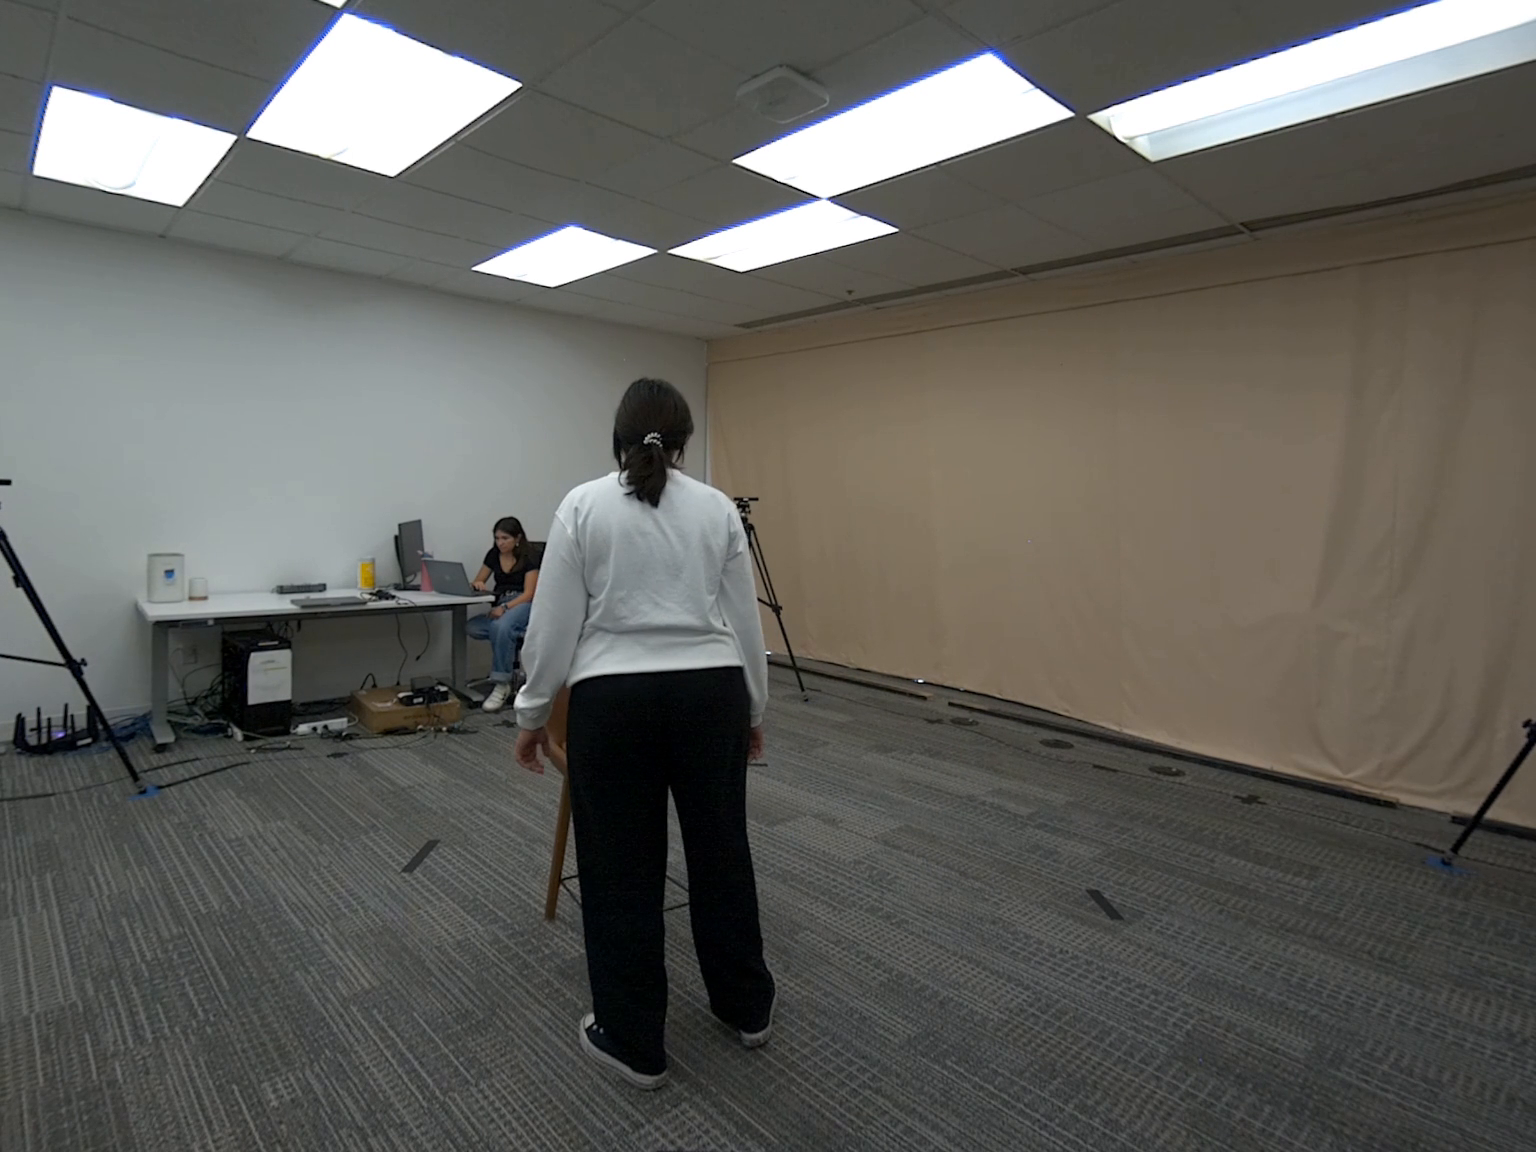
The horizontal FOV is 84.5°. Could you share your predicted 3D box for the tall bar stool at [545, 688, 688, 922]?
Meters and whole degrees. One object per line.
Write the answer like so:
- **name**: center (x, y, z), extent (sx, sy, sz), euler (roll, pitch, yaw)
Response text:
- **tall bar stool**: center (-0.453, 0.714, 2.655), extent (0.447, 0.888, 0.478), euler (-1, 3, -34)
